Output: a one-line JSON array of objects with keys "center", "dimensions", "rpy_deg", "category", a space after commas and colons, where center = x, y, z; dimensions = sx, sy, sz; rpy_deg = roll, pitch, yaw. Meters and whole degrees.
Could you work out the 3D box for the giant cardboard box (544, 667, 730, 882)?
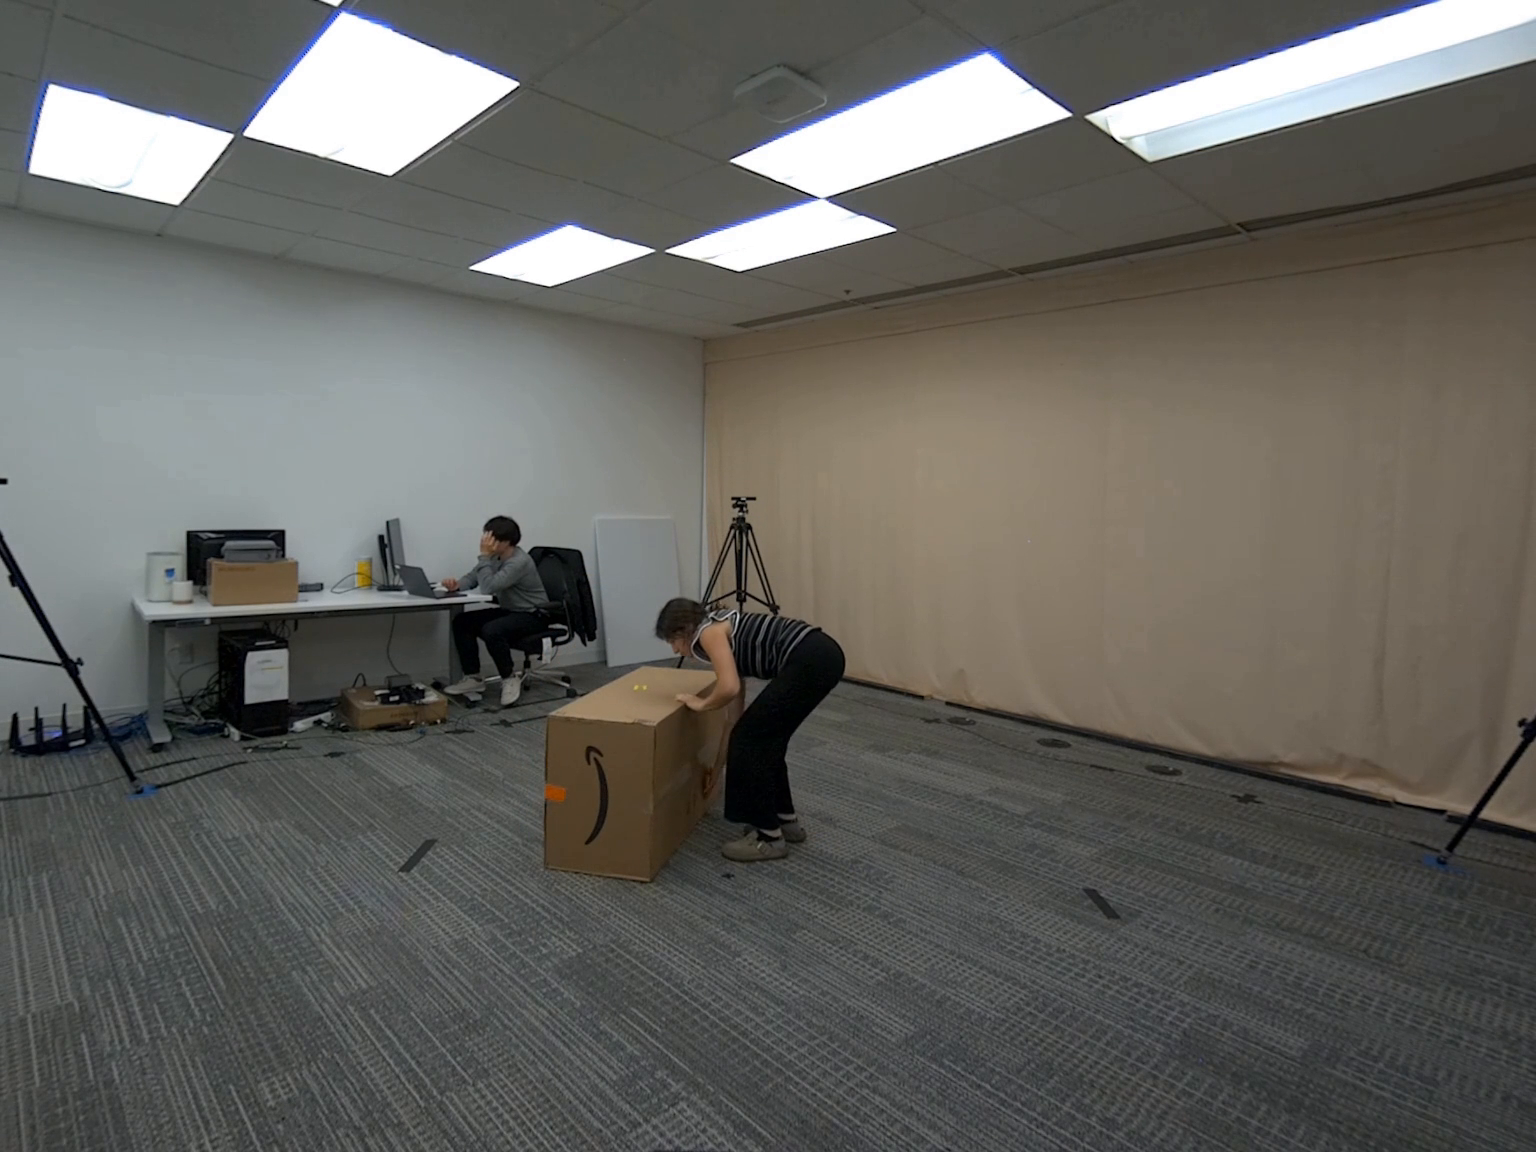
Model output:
[{"center": [-0.527, 0.771, 3.559], "dimensions": [0.431, 0.576, 1.017], "rpy_deg": [3, 4, 12], "category": "giant cardboard box"}]
